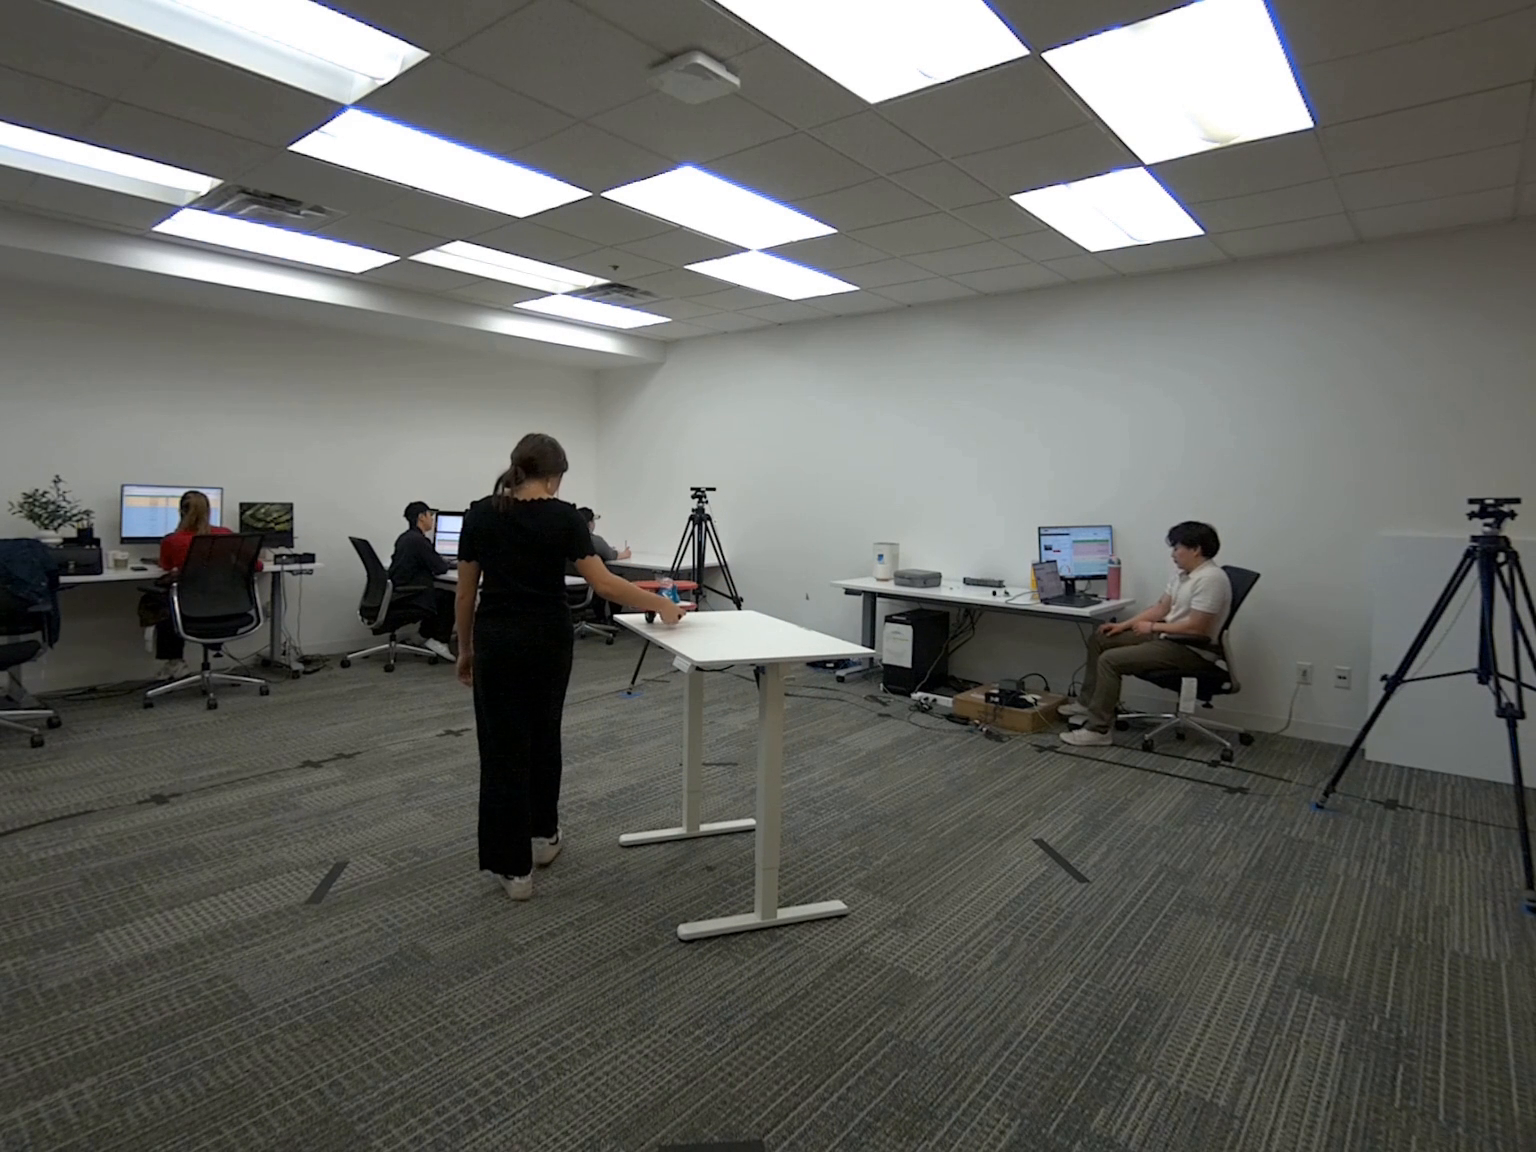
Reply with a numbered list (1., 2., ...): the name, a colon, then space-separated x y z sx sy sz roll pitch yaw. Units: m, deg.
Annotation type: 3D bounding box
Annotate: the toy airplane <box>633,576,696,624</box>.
1. toy airplane: -0.371 0.085 3.146 0.266 0.157 0.243 -9 -7 42
